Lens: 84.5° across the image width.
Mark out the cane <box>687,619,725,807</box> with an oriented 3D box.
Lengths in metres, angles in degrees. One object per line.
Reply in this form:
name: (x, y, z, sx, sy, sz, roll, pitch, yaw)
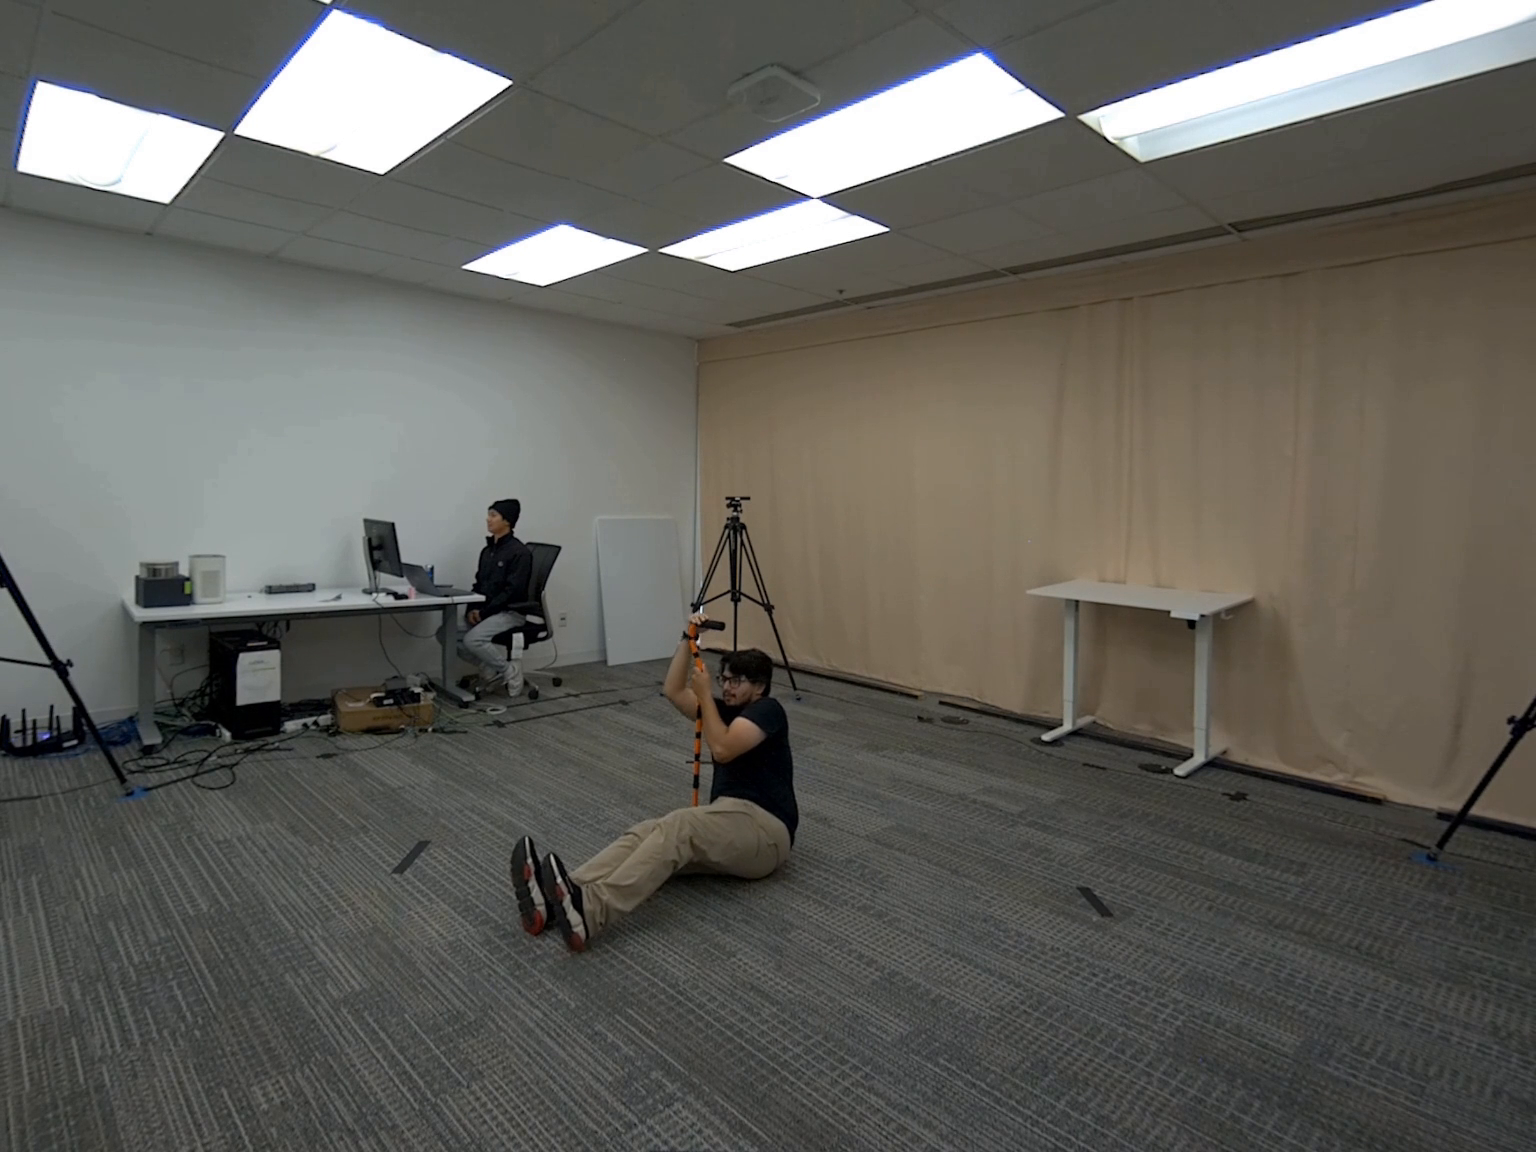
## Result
cane: (-0.276, 0.622, 3.369, 0.211, 0.907, 0.148, 3, 2, 33)
